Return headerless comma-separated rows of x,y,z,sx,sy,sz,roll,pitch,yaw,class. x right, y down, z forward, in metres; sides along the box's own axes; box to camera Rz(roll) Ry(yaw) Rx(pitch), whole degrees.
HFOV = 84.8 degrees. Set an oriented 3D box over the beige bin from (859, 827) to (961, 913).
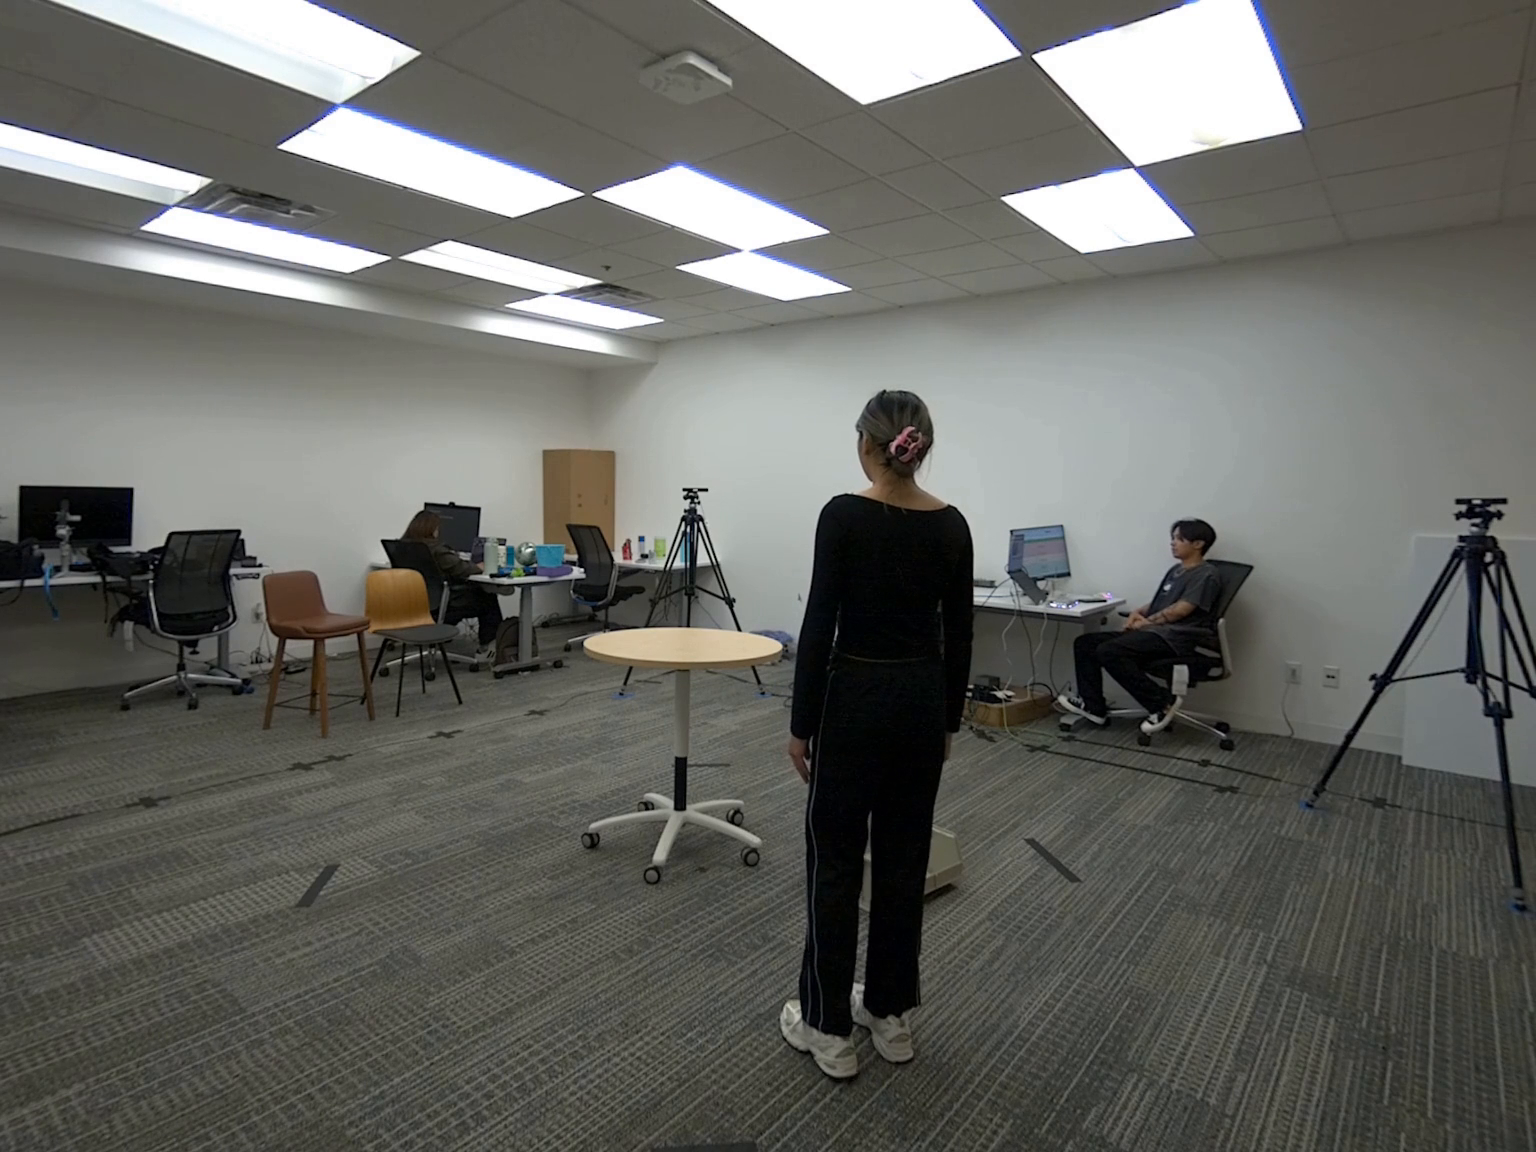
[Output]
0.409,0.997,3.024,0.410,0.188,0.390,-4,6,-42,beige bin
